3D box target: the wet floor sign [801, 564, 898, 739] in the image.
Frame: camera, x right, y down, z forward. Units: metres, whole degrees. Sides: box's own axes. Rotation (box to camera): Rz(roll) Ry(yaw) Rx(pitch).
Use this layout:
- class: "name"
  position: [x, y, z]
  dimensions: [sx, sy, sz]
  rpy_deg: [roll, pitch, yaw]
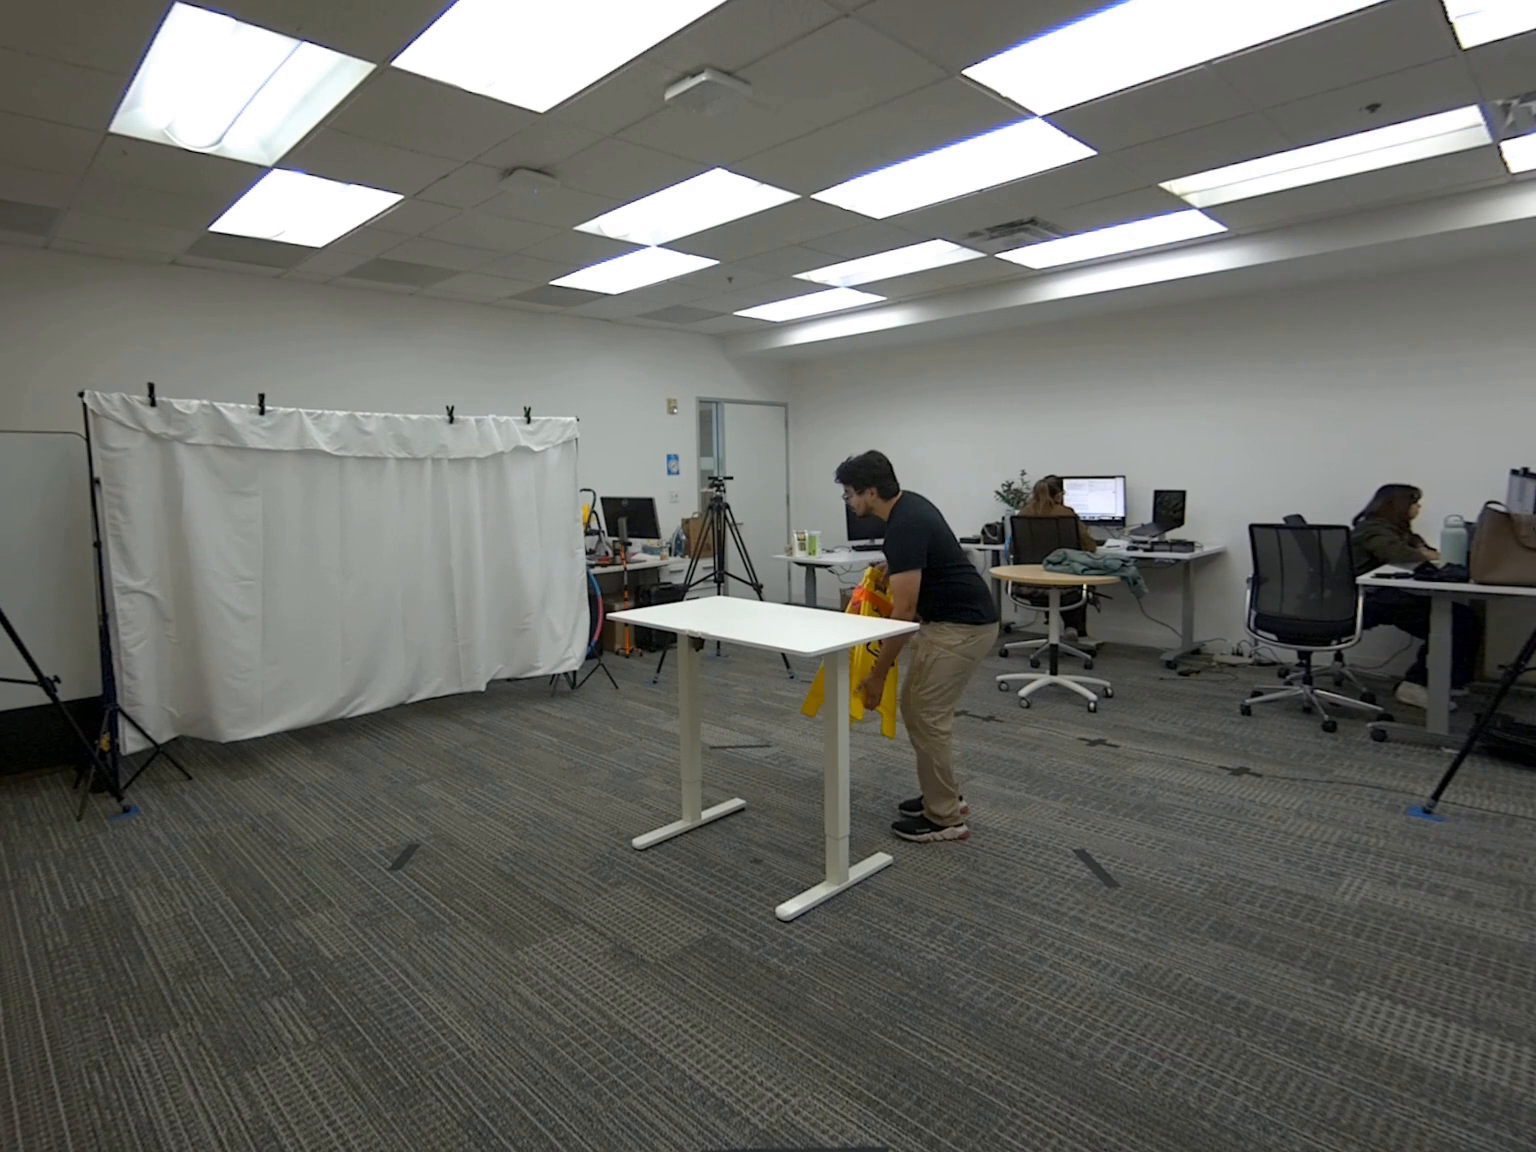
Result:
- class: "wet floor sign"
  position: [0.397, 0.291, 3.449]
  dimensions: [0.272, 0.654, 0.296]
  rpy_deg: [32, -27, -33]
